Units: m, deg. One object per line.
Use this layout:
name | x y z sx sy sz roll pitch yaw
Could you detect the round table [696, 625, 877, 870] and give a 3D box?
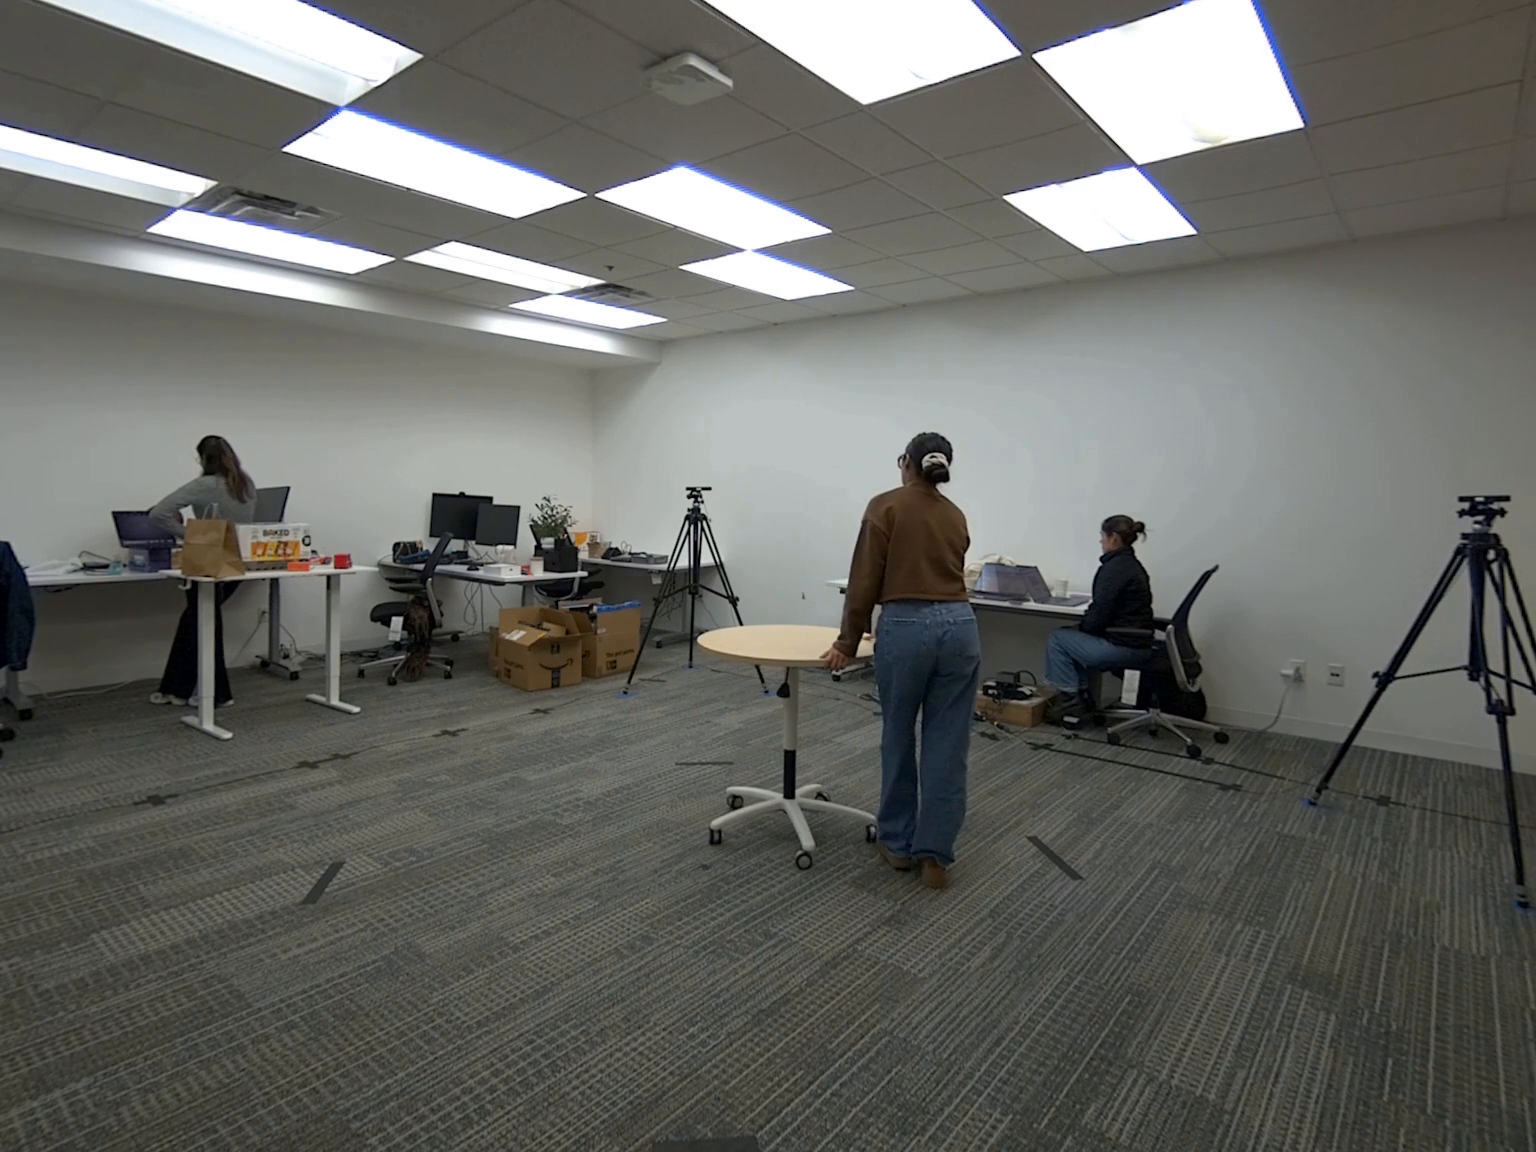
round table | 0.077 0.645 3.431 0.784 0.784 0.789 1 4 -2
